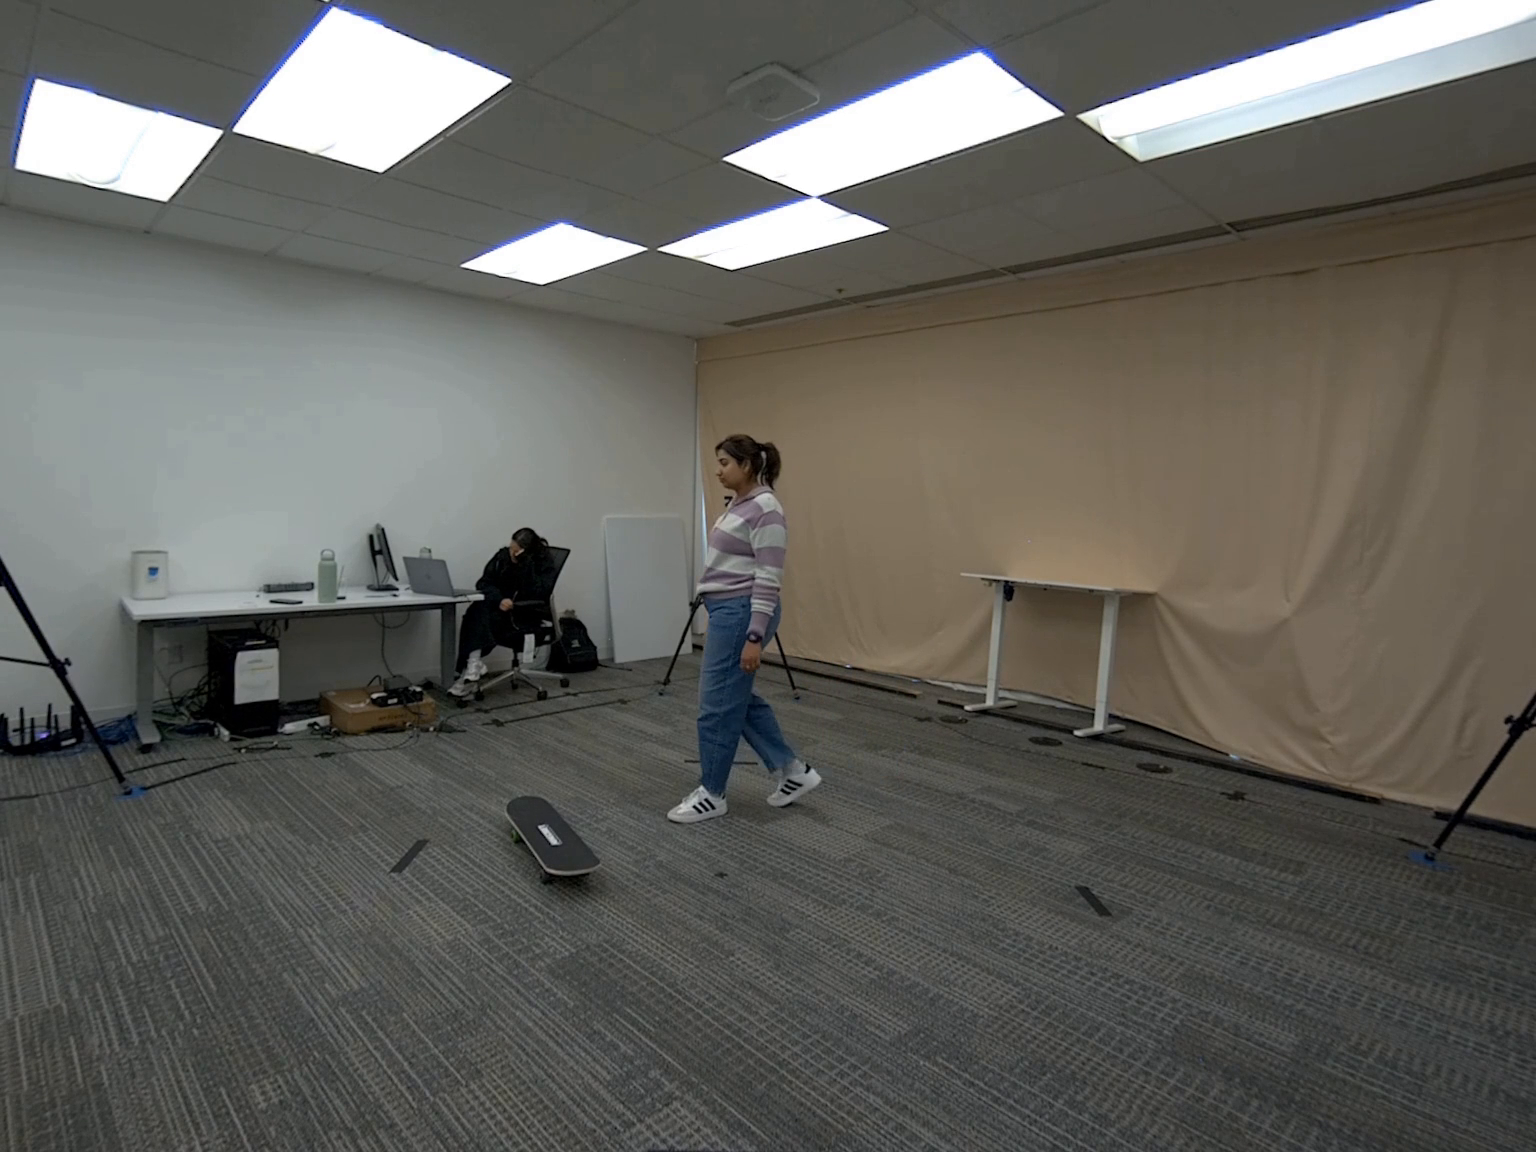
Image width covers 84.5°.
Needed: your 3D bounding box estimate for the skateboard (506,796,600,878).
[{"bbox_3d":[-0.843,1.021,3.219,0.190,0.110,0.803,-1,6,-29],"label":"skateboard"}]
